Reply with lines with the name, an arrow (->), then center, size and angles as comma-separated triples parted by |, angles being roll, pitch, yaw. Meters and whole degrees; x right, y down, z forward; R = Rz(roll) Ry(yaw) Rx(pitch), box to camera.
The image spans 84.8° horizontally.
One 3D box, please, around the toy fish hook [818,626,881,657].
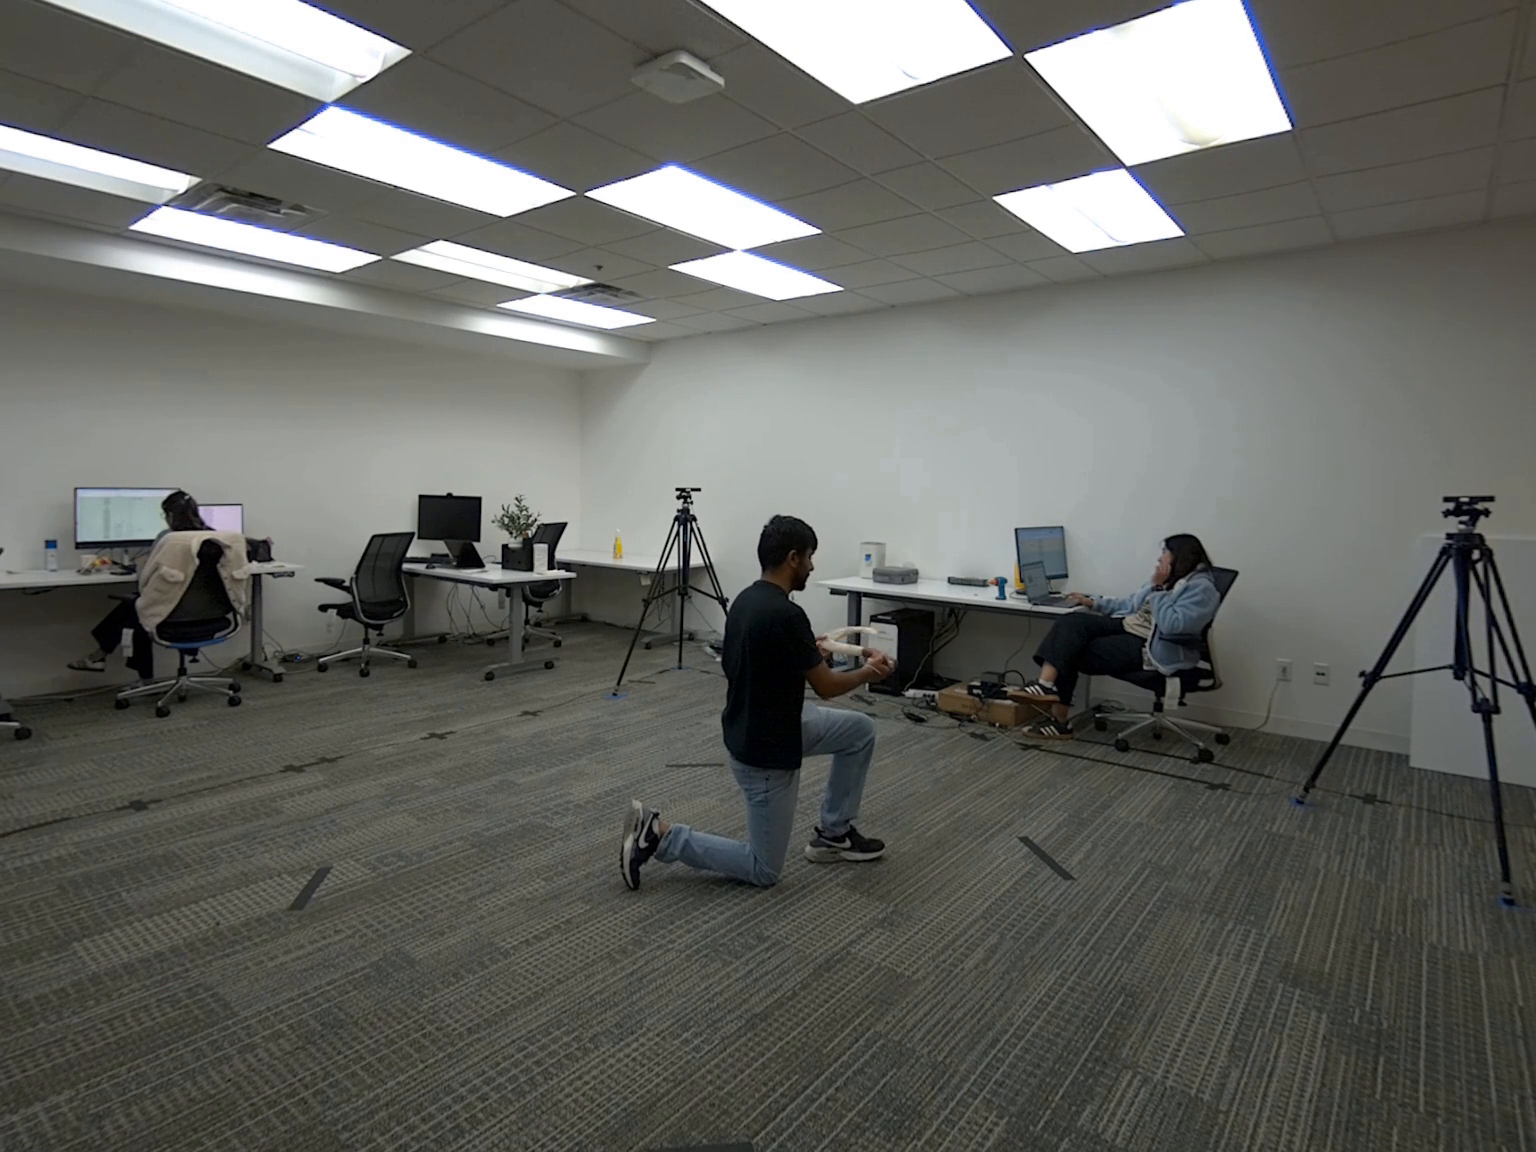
toy fish hook -> 0.368, 0.271, 3.337 | 0.222, 0.047, 0.522 | -26, 19, -21
